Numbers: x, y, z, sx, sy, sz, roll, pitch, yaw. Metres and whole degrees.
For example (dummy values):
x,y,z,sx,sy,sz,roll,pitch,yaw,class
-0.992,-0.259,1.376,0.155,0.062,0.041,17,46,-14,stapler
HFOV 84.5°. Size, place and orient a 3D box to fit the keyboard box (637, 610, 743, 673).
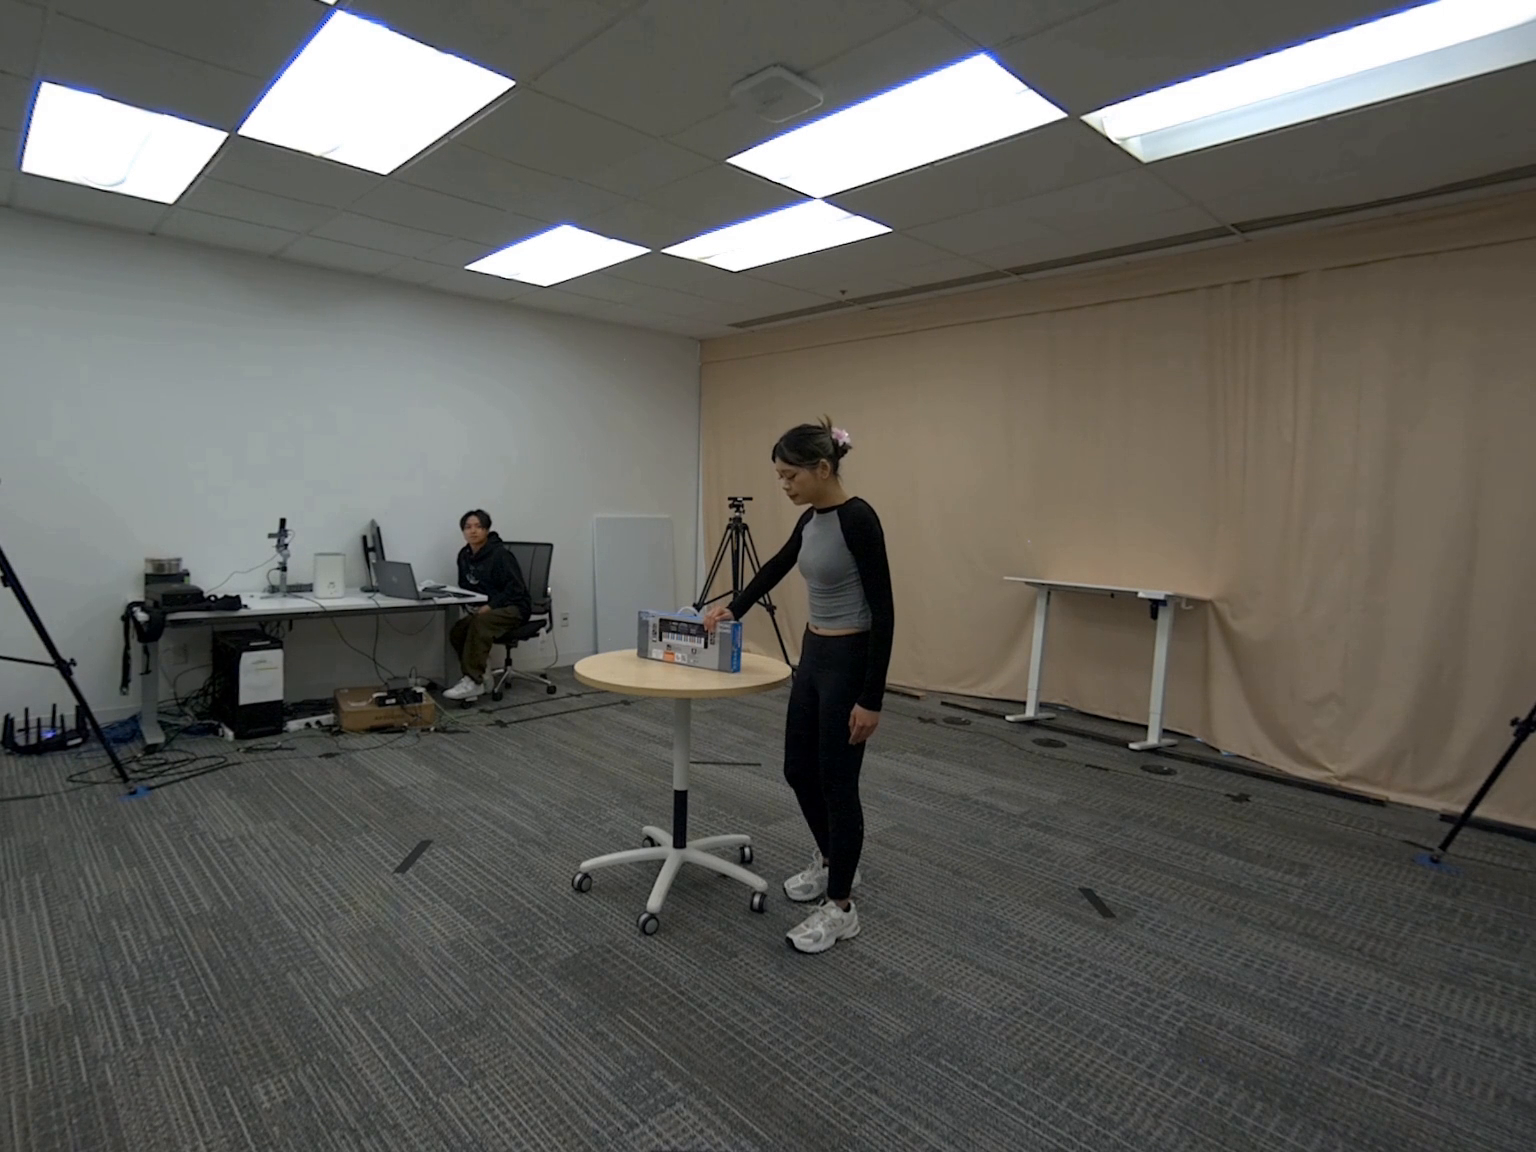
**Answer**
x,y,z,sx,sy,sz,roll,pitch,yaw,class
-0.294,0.233,3.021,0.447,0.175,0.058,5,4,35,keyboard box
